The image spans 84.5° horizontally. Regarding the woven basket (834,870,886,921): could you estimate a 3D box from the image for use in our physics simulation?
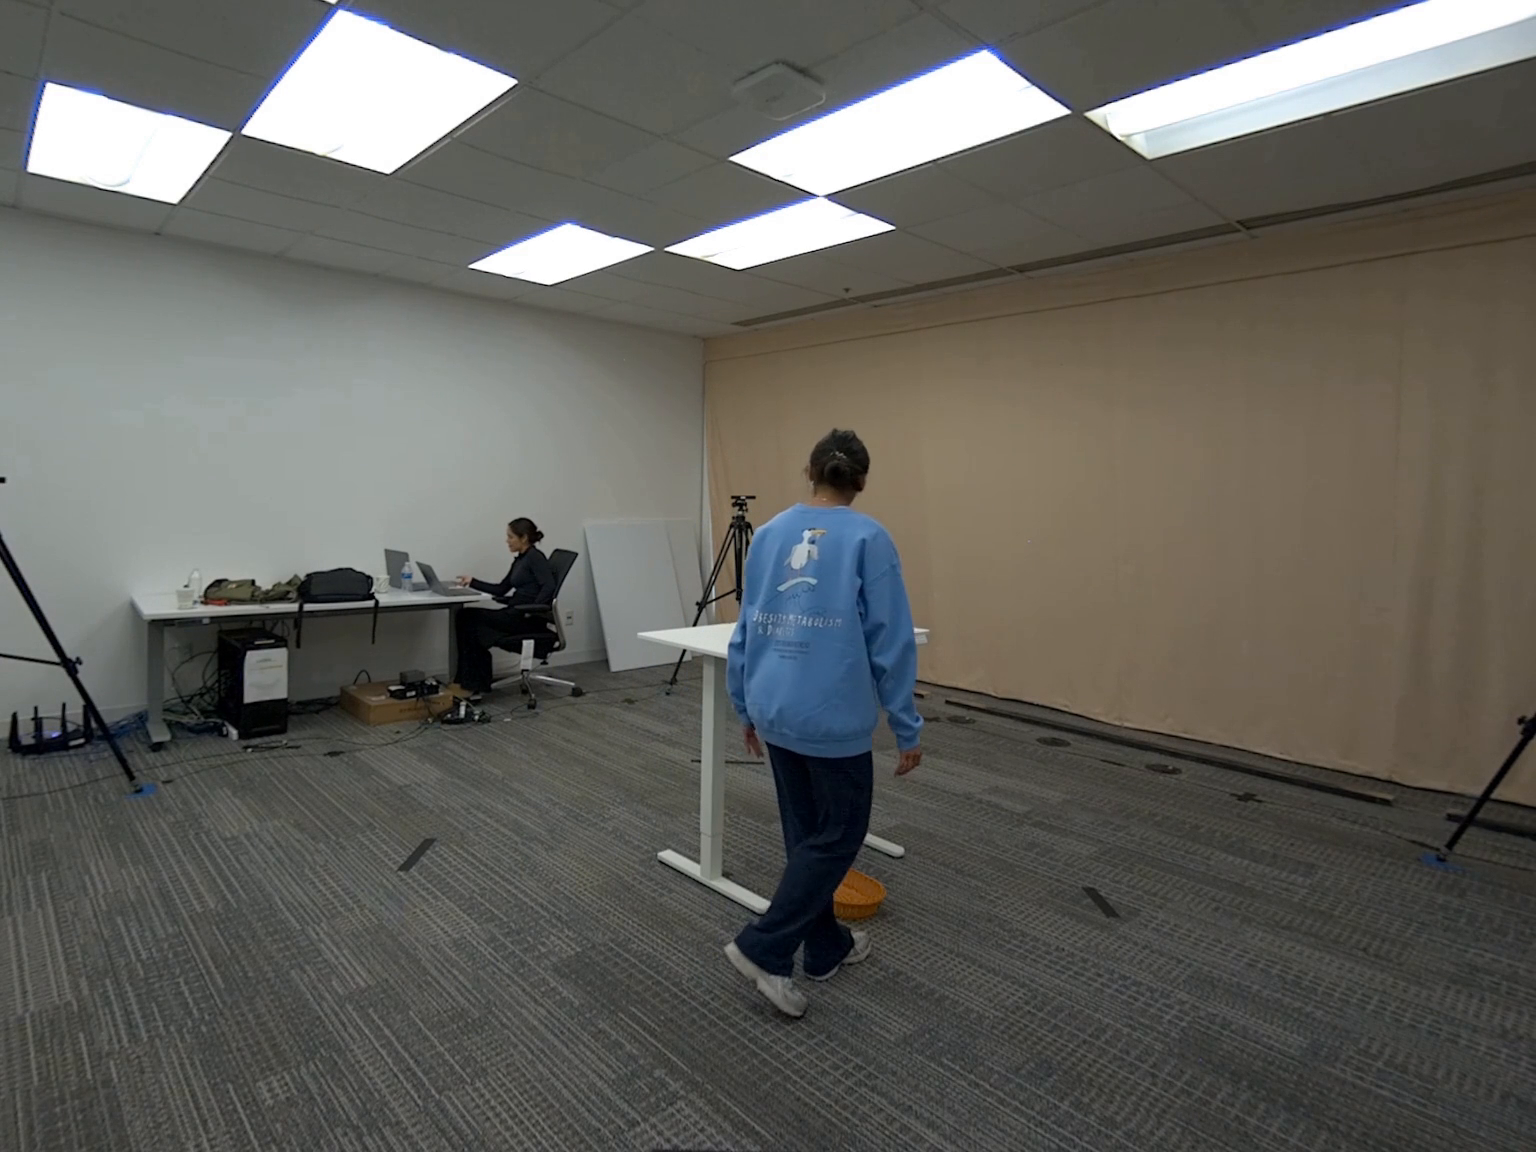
[{"bbox_3d":[0.229,1.085,2.913,0.246,0.073,0.359,-2,6,-43],"label":"woven basket"}]
